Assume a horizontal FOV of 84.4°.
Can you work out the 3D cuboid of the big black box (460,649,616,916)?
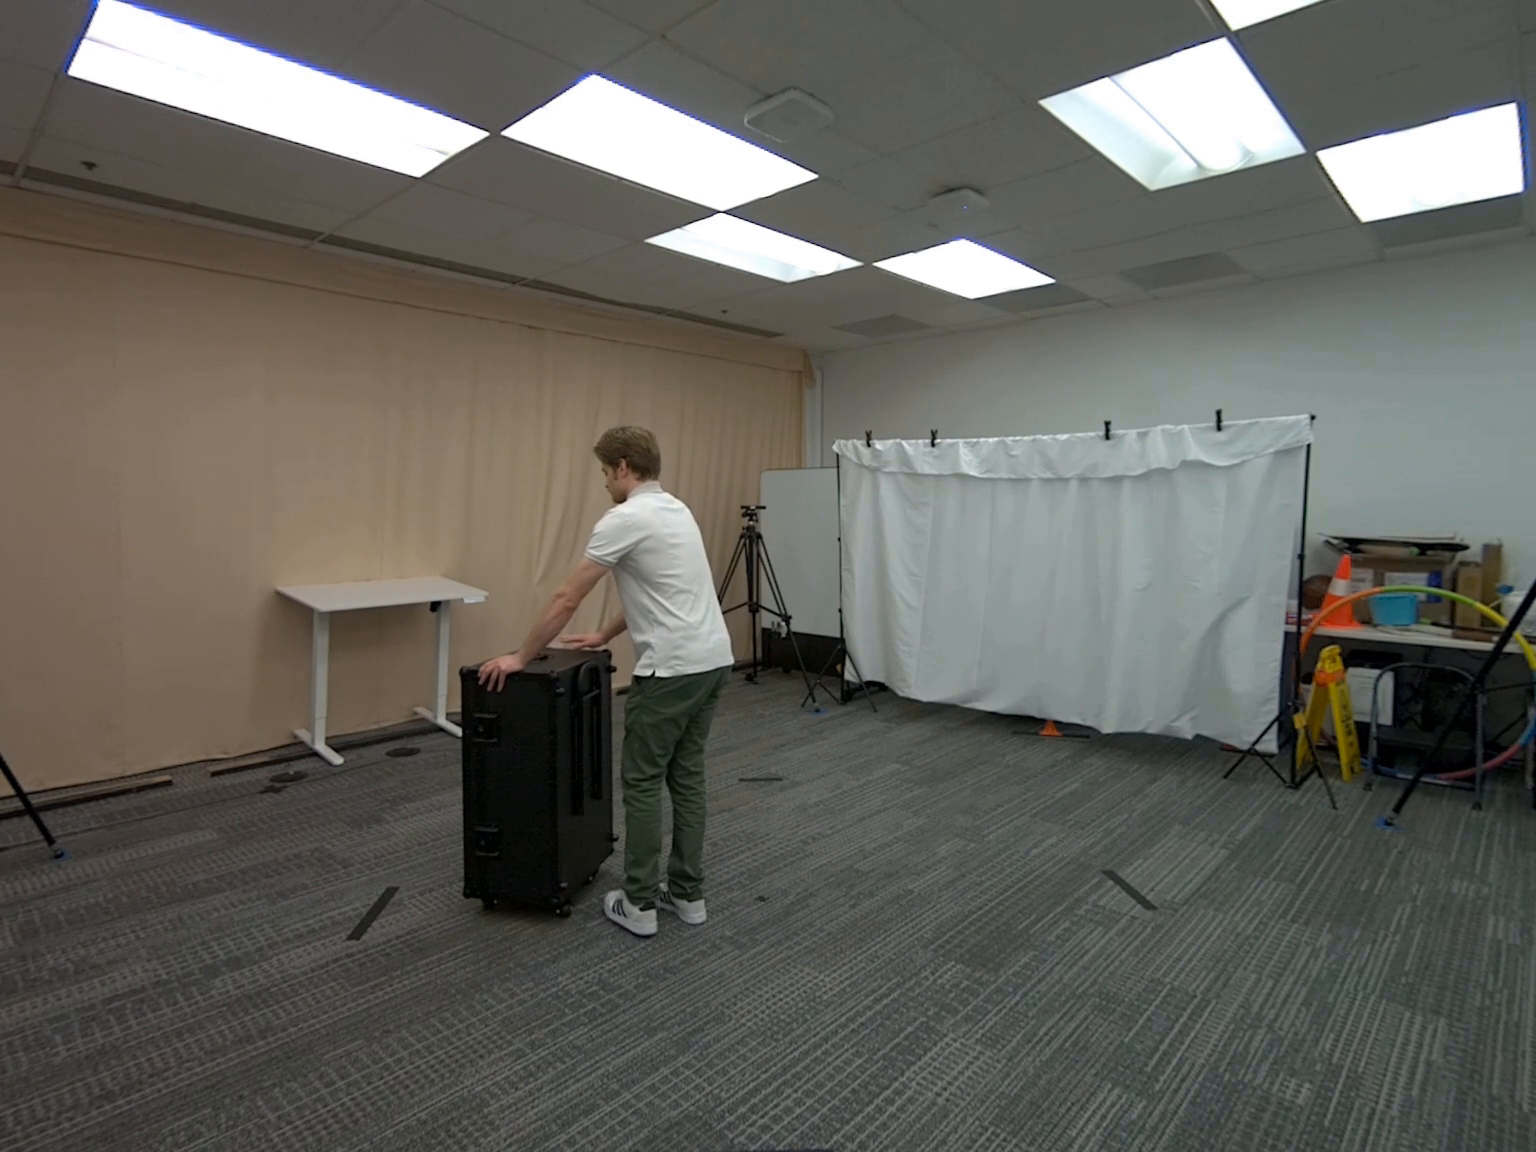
[{"bbox_3d":[-0.808,0.720,3.038,0.390,0.867,0.517,1,3,11],"label":"big black box"}]
